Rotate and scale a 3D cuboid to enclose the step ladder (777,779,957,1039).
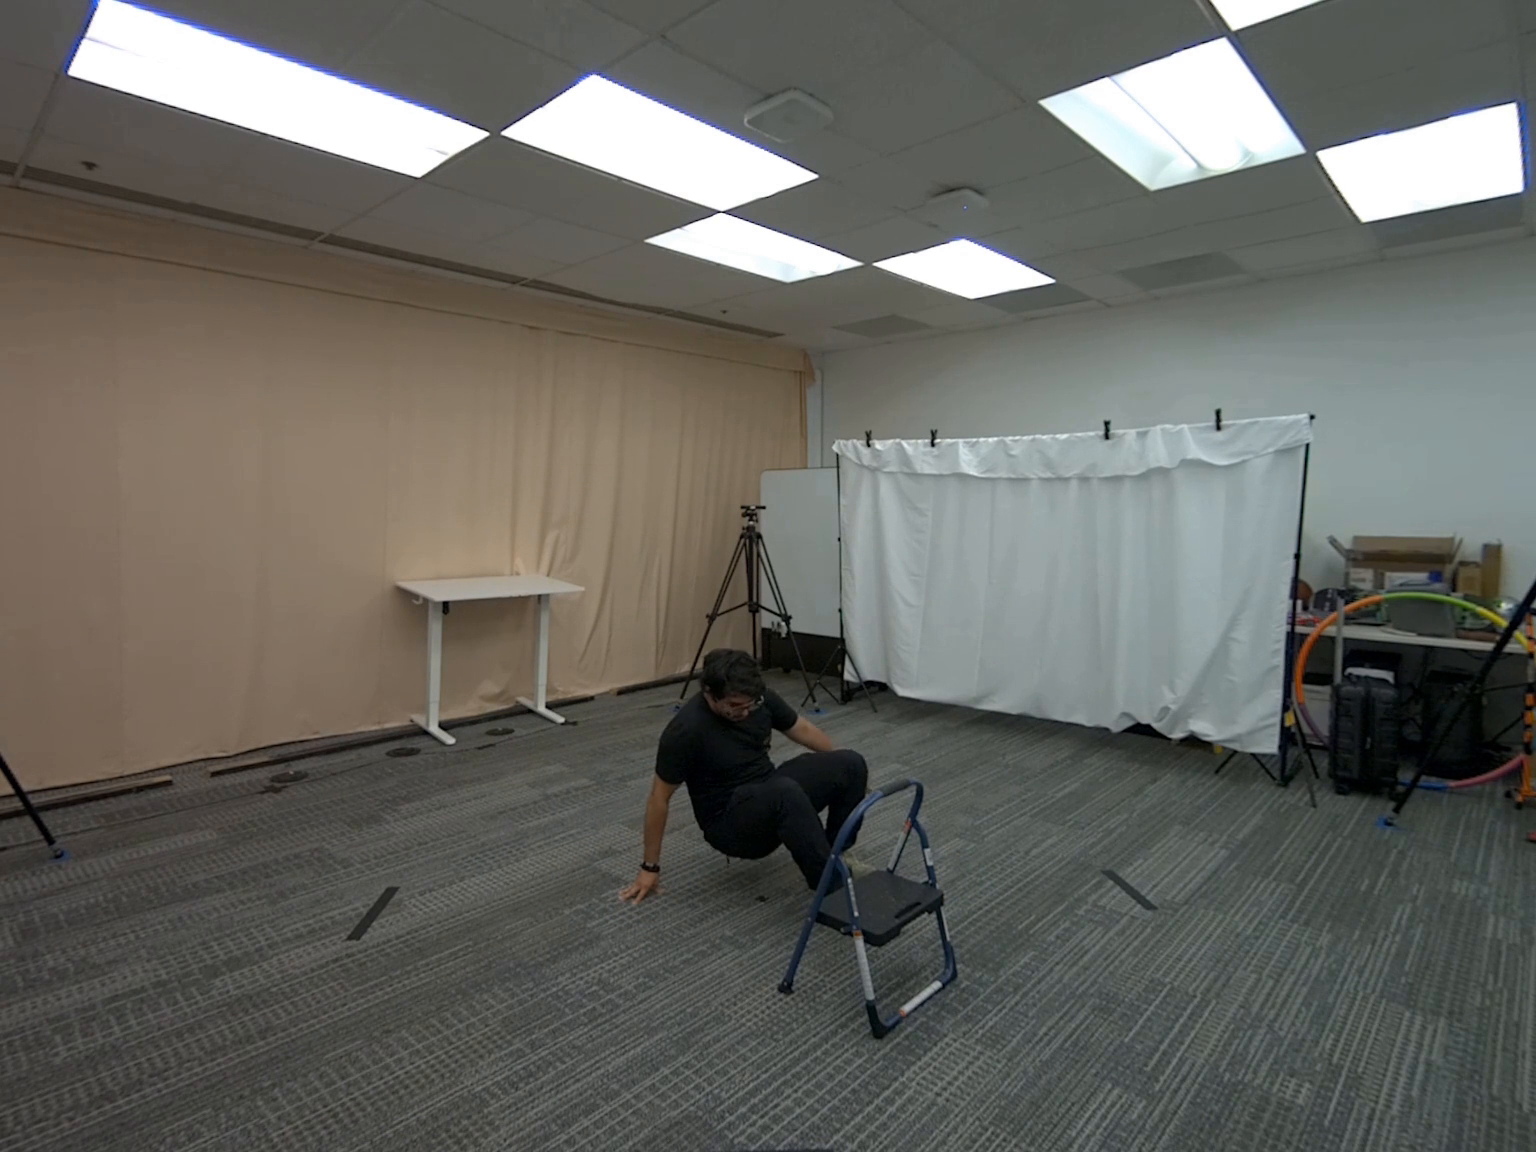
[{"bbox_3d":[0.299,0.885,2.437,0.361,0.604,0.417,3,5,42],"label":"step ladder"}]
